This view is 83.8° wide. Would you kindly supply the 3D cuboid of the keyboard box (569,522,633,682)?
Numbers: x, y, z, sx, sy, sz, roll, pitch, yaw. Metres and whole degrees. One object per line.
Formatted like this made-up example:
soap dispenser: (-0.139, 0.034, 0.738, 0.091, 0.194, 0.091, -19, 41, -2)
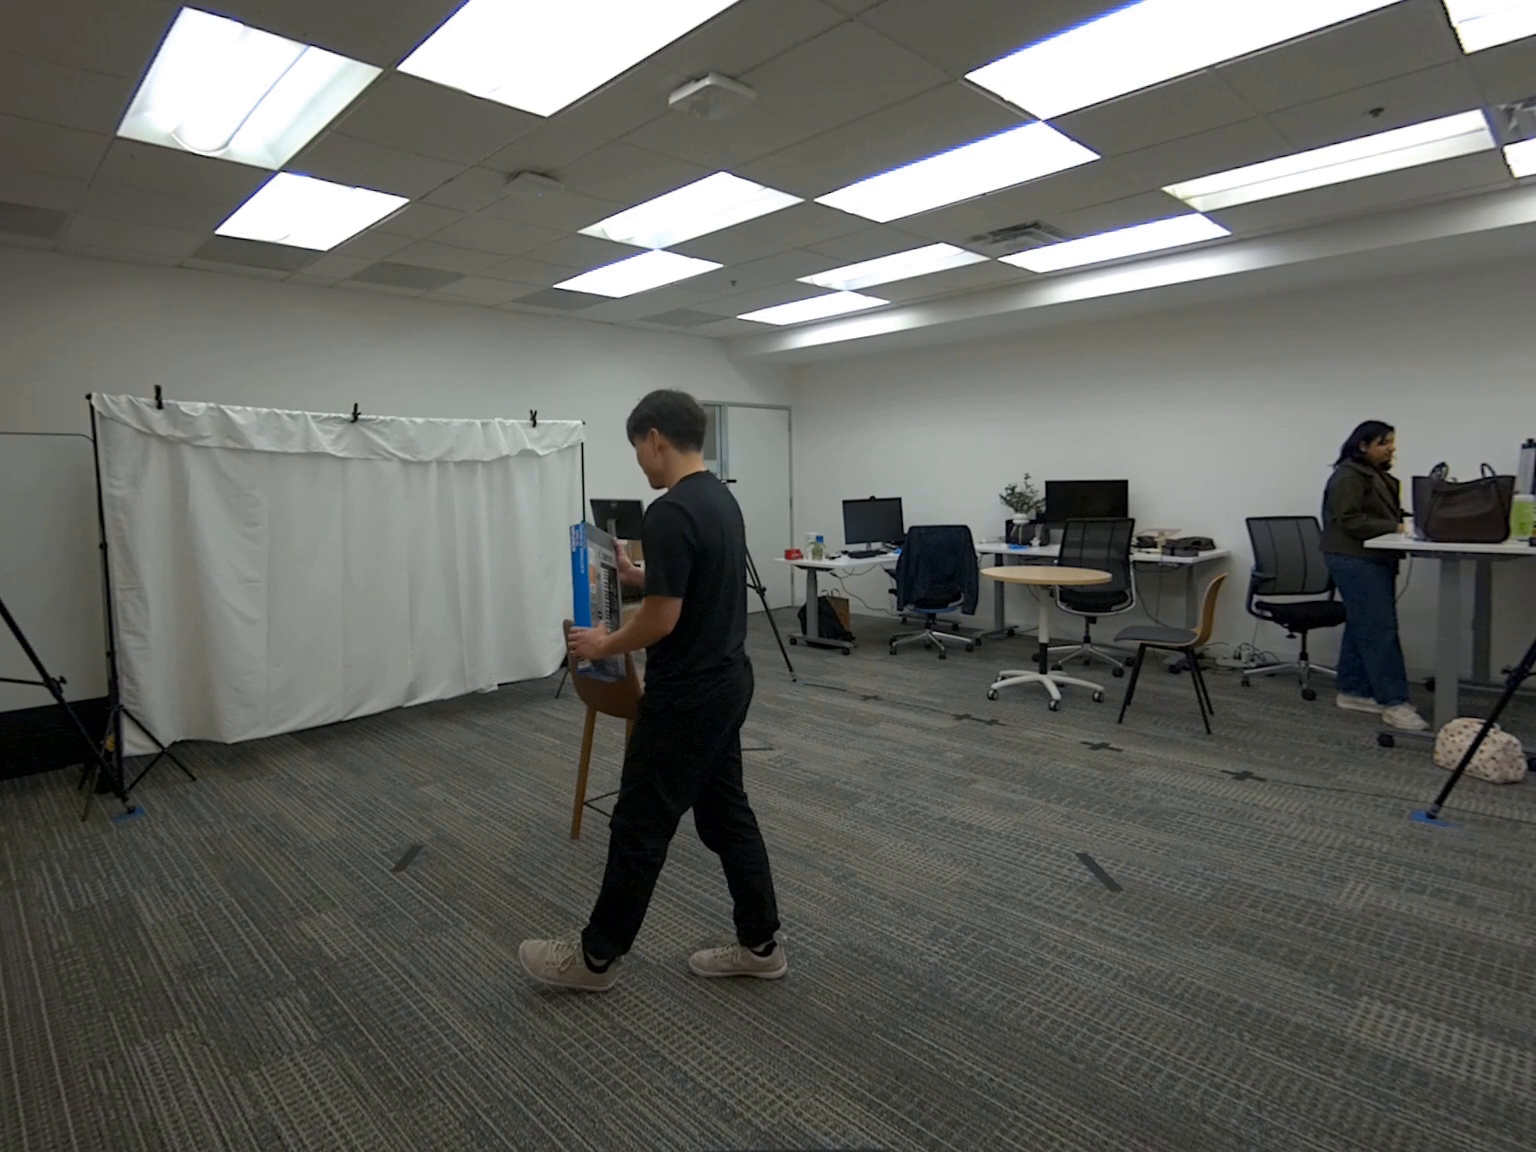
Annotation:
keyboard box: (-0.490, 0.074, 2.459, 0.060, 0.445, 0.170, -14, -21, 18)
